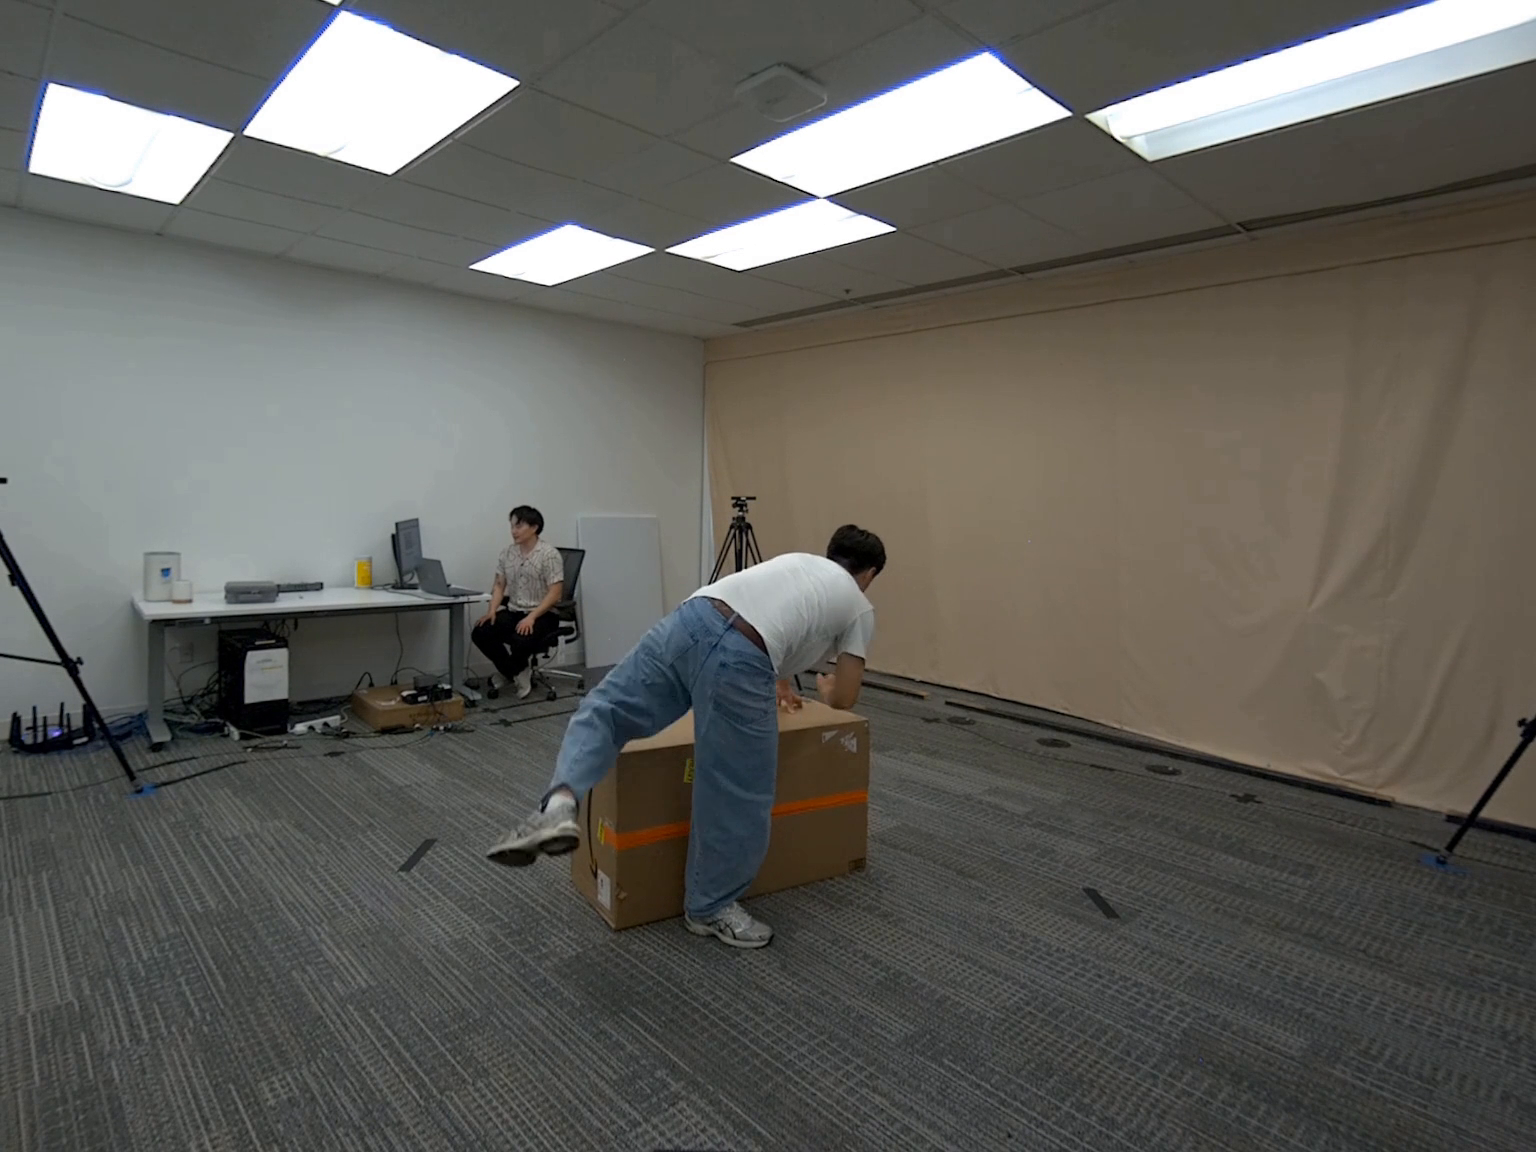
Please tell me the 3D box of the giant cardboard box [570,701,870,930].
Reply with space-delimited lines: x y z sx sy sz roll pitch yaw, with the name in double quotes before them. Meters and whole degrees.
"giant cardboard box" -0.167 0.820 3.098 1.005 0.576 0.436 -1 4 -30
